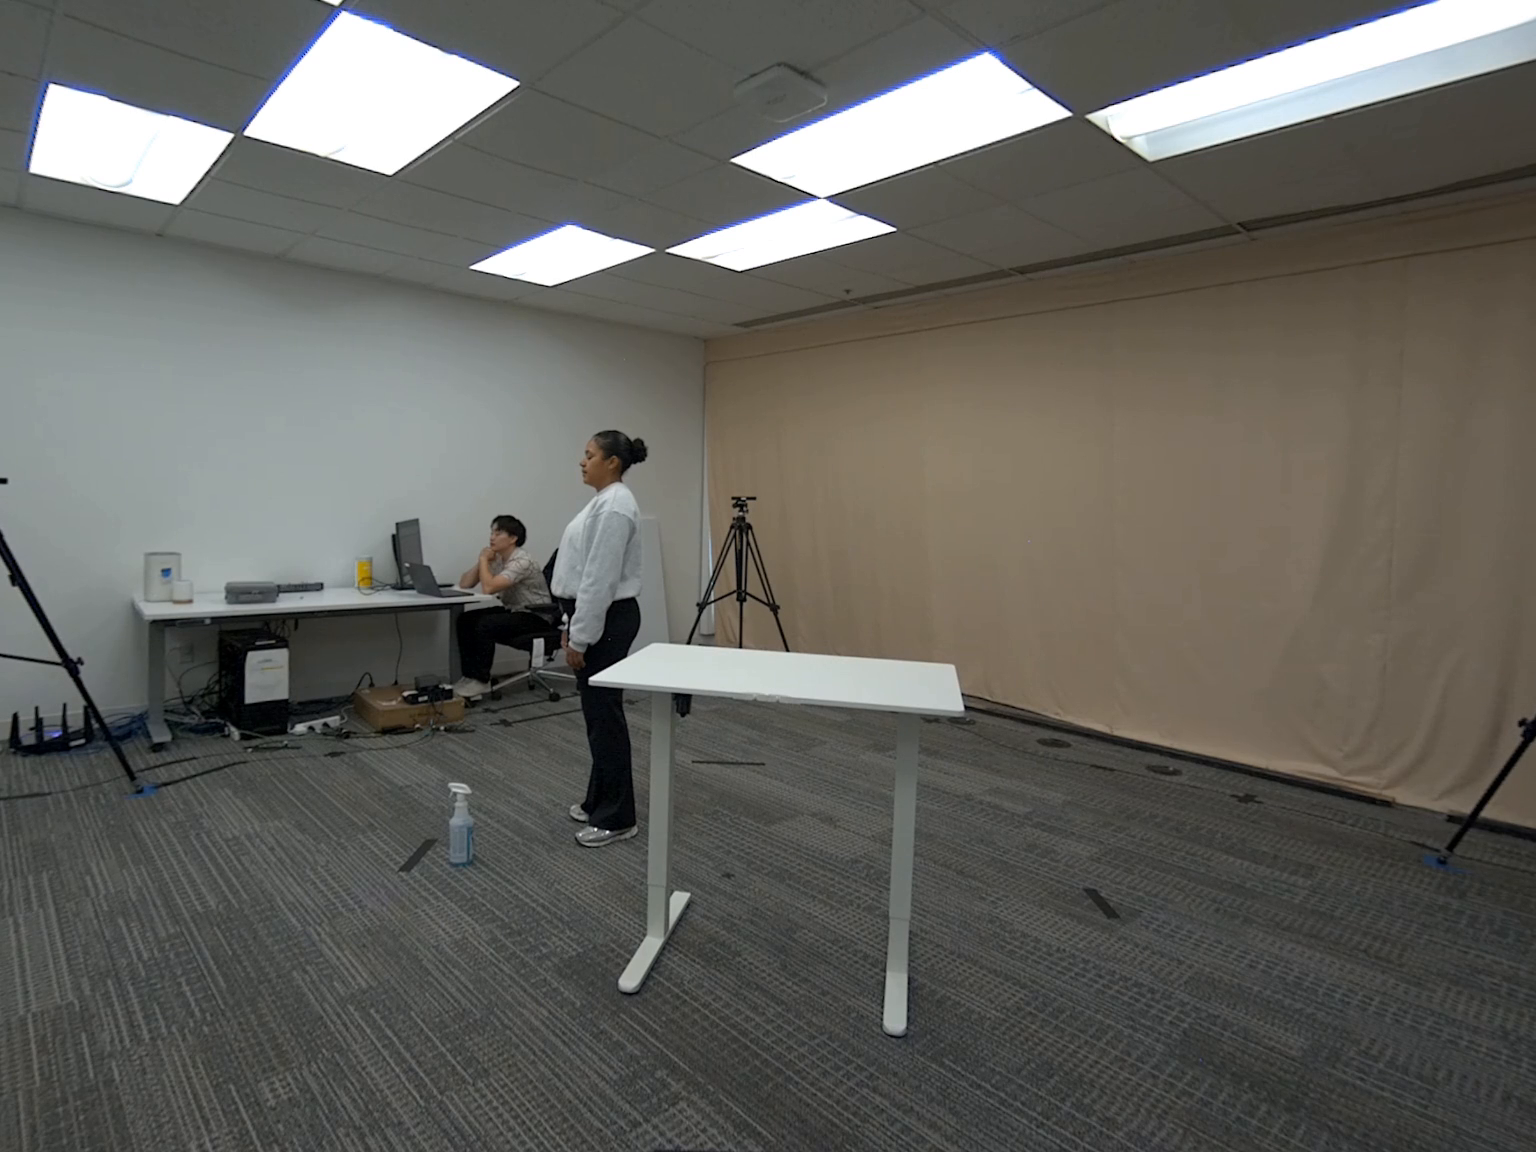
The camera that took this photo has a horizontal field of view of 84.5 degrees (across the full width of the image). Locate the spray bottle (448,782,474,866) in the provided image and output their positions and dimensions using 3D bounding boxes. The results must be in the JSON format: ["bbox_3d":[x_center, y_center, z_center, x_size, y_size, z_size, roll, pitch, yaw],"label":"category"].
[{"bbox_3d":[-1.164,0.936,3.166,0.092,0.297,0.085,2,4,34],"label":"spray bottle"}]
